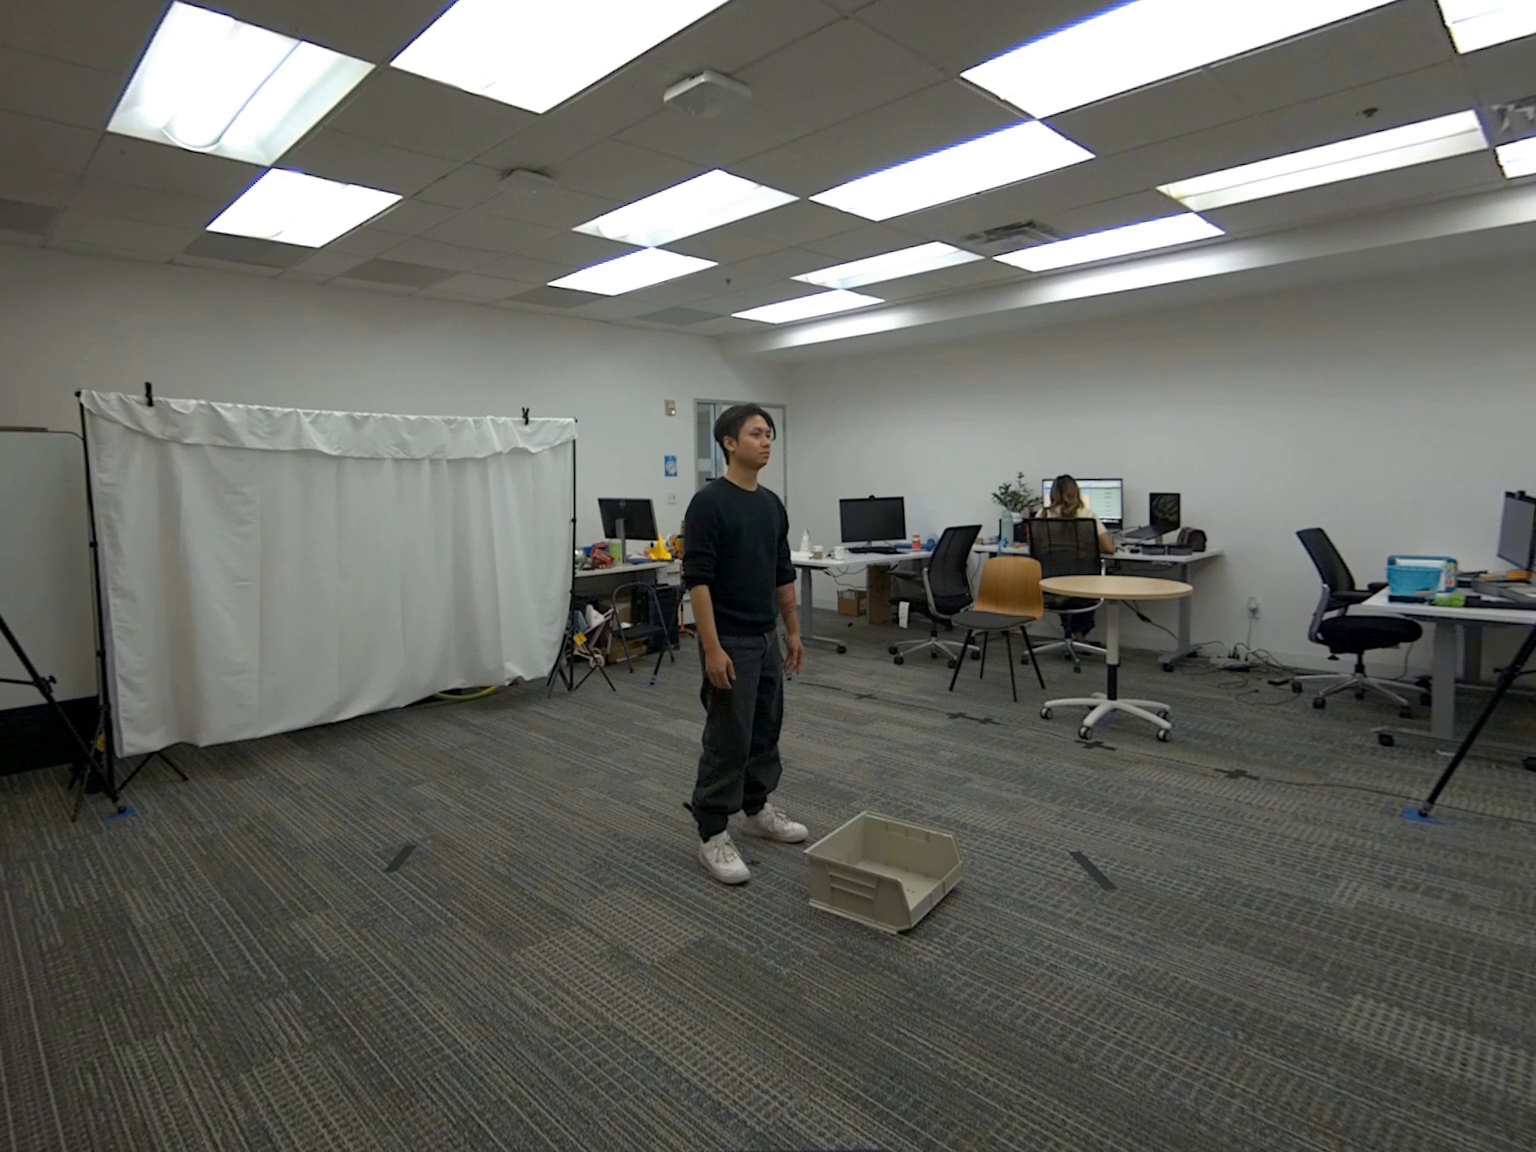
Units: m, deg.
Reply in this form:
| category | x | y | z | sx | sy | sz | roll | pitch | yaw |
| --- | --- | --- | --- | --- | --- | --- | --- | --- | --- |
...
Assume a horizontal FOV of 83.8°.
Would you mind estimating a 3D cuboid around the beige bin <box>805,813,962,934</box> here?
| category | x | y | z | sx | sy | sz | roll | pitch | yaw |
| --- | --- | --- | --- | --- | --- | --- | --- | --- | --- |
| beige bin | 0.394 | 0.979 | 2.835 | 0.388 | 0.188 | 0.412 | 2 | 7 | 36 |
